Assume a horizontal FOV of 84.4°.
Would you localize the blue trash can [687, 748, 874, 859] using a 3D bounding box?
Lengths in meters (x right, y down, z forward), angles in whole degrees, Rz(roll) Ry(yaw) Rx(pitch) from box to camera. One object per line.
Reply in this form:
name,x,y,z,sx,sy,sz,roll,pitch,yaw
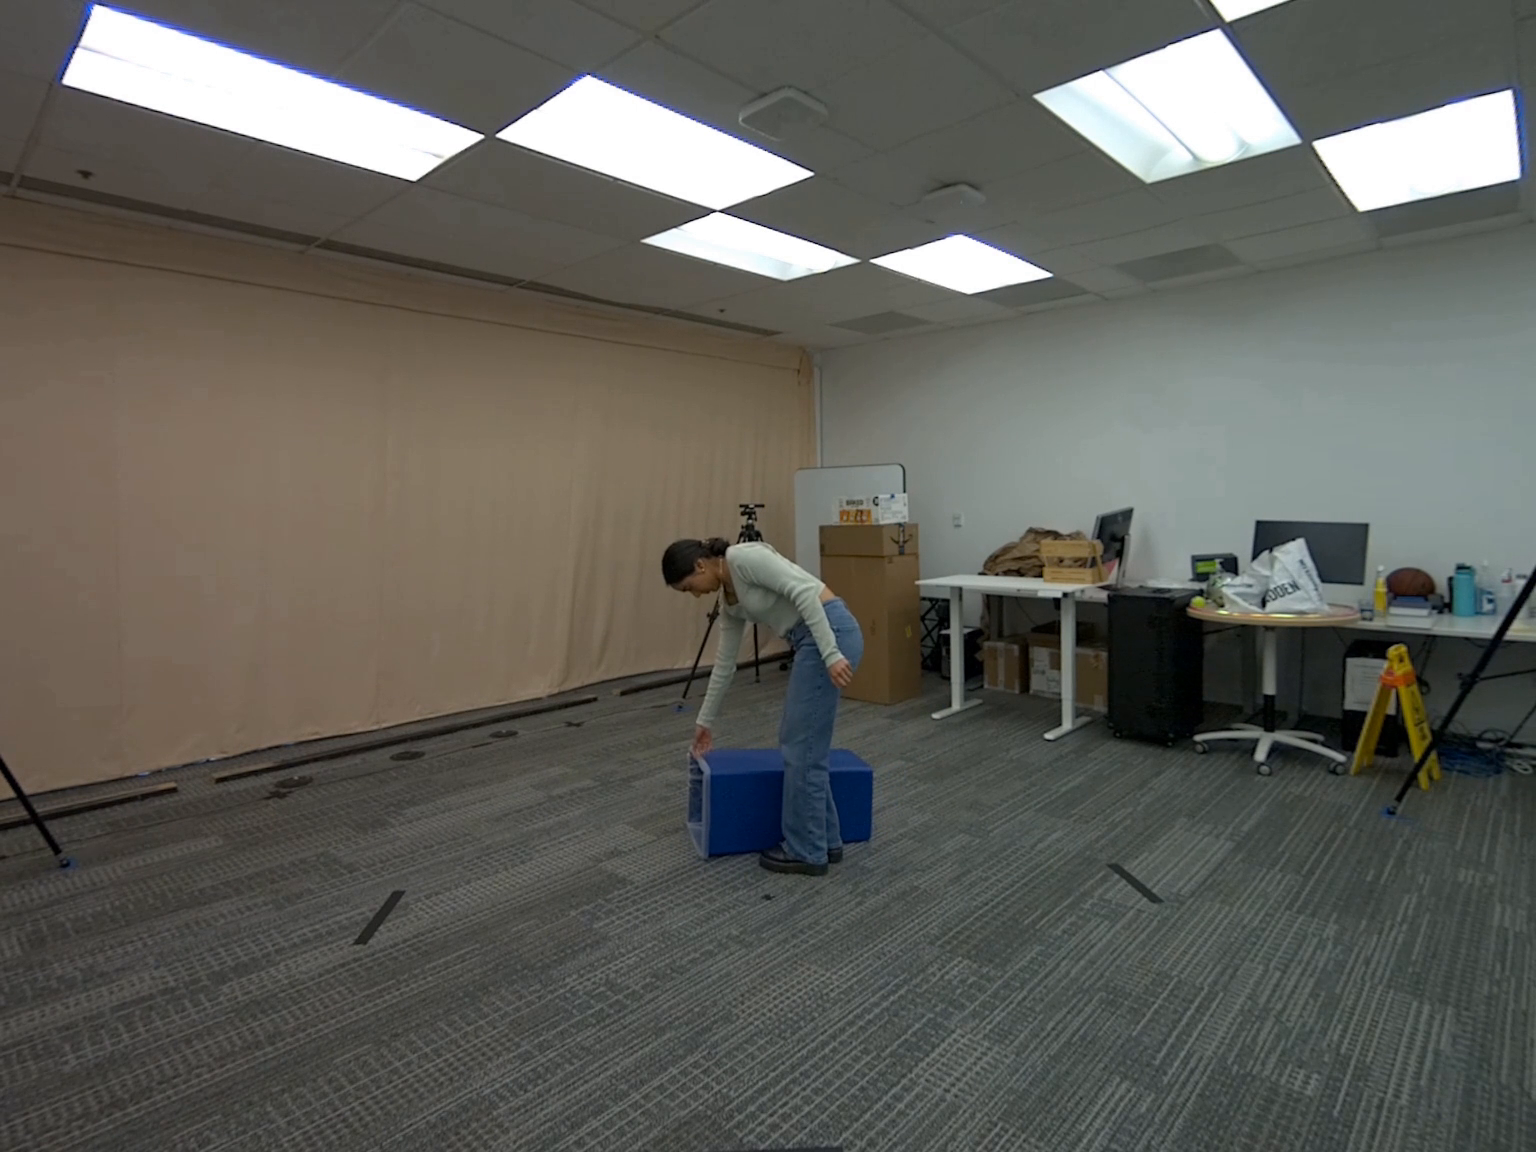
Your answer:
blue trash can,0.044,0.913,3.518,0.705,0.377,0.379,0,3,-11
